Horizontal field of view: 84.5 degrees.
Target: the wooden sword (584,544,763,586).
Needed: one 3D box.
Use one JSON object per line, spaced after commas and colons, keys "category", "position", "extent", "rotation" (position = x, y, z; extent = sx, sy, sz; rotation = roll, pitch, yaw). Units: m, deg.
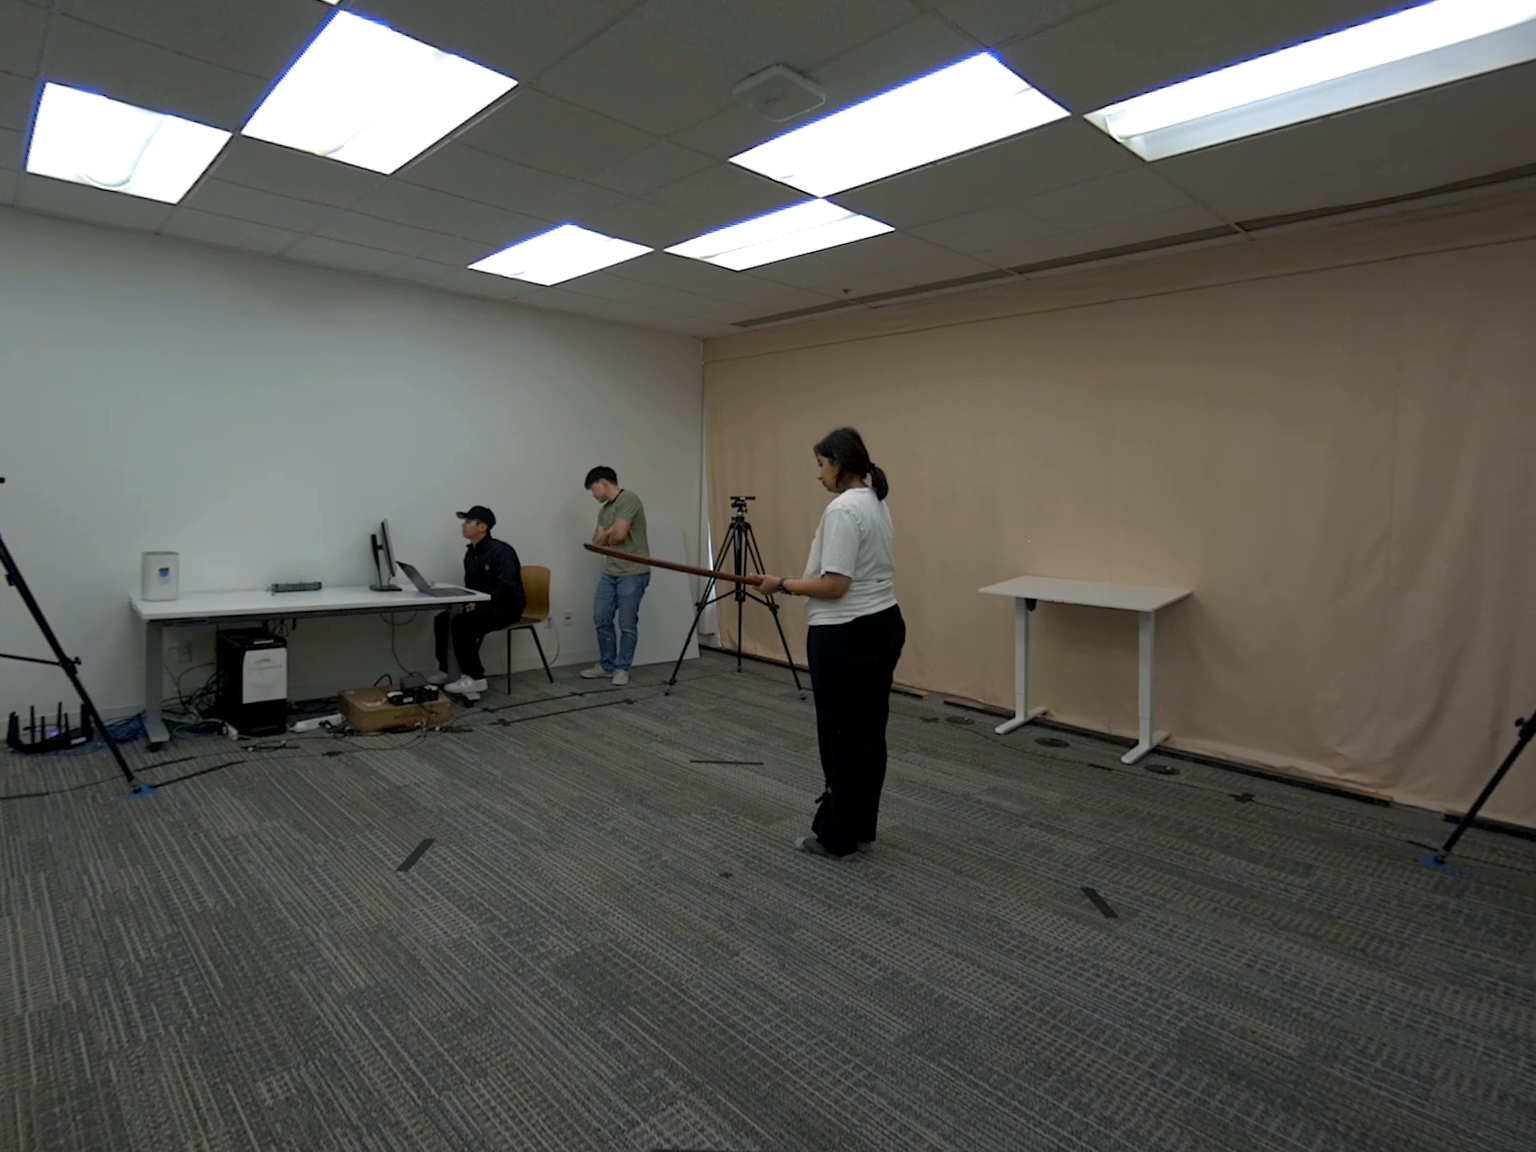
{"category": "wooden sword", "position": [-0.277, -0.008, 3.107], "extent": [0.998, 0.051, 0.024], "rotation": [14, -9, -33]}
